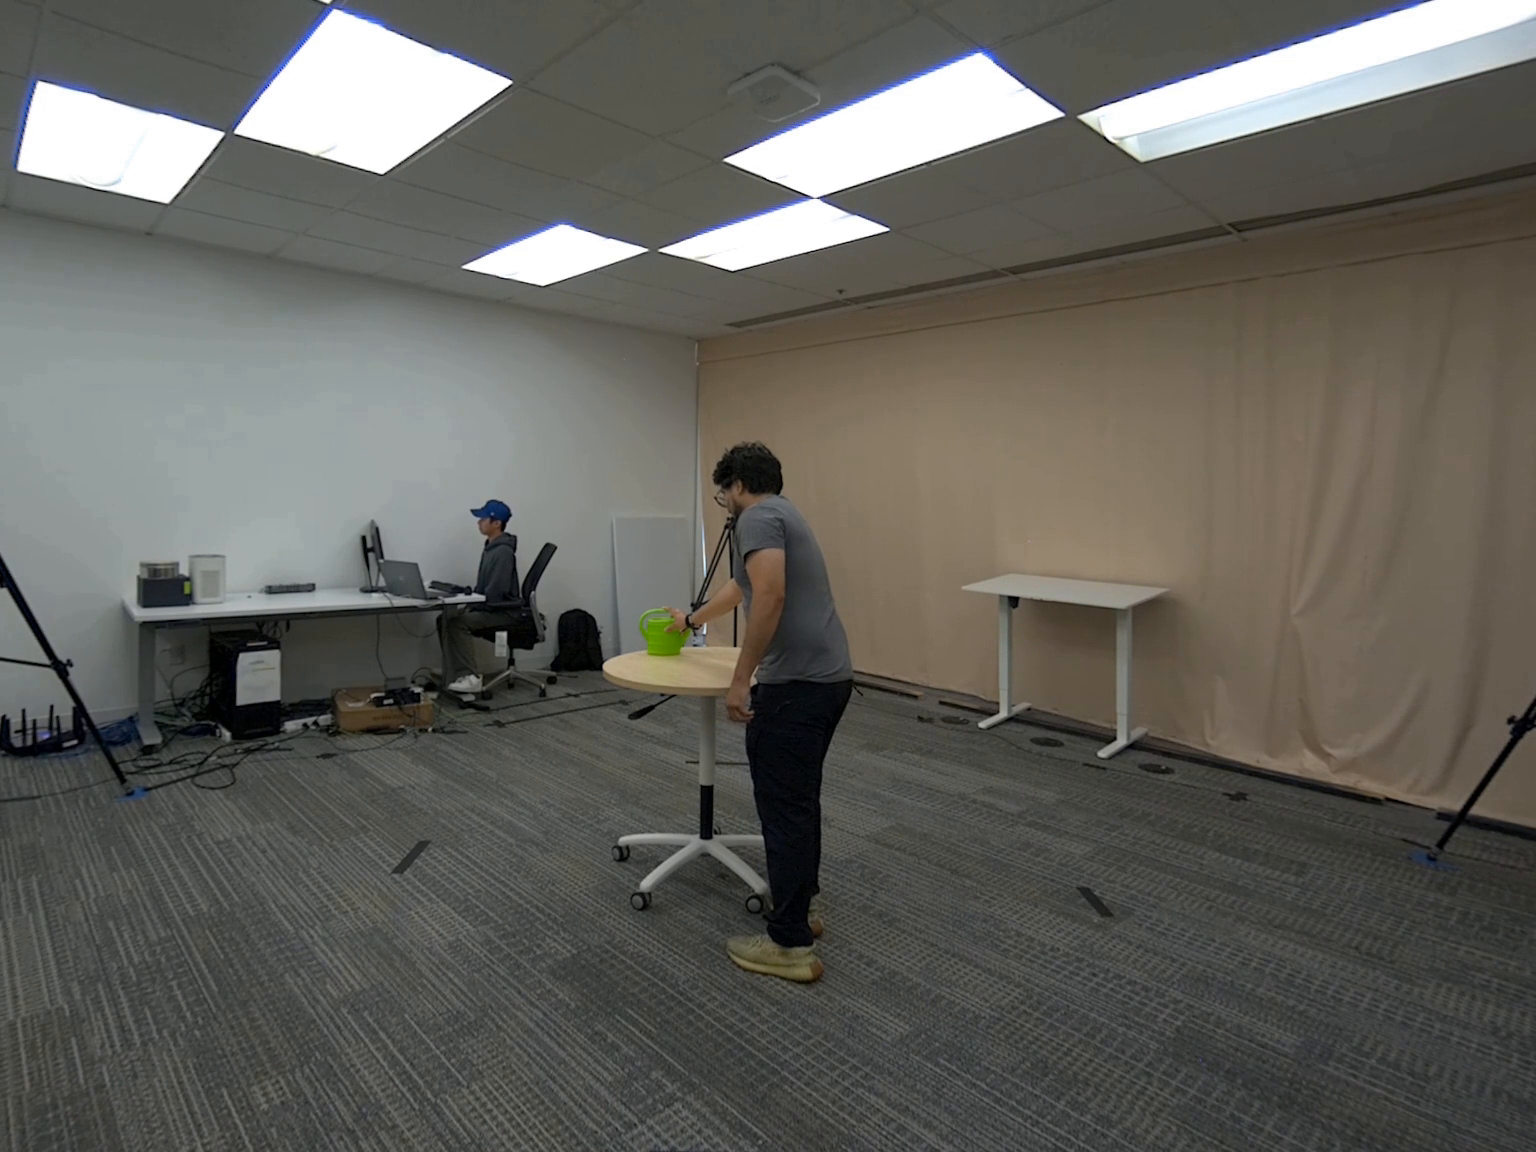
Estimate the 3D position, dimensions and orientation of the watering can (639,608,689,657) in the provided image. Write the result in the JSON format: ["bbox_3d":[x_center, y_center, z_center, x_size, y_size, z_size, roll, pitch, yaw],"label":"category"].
[{"bbox_3d":[-0.375,0.219,3.276,0.279,0.176,0.098,-2,2,5],"label":"watering can"}]
